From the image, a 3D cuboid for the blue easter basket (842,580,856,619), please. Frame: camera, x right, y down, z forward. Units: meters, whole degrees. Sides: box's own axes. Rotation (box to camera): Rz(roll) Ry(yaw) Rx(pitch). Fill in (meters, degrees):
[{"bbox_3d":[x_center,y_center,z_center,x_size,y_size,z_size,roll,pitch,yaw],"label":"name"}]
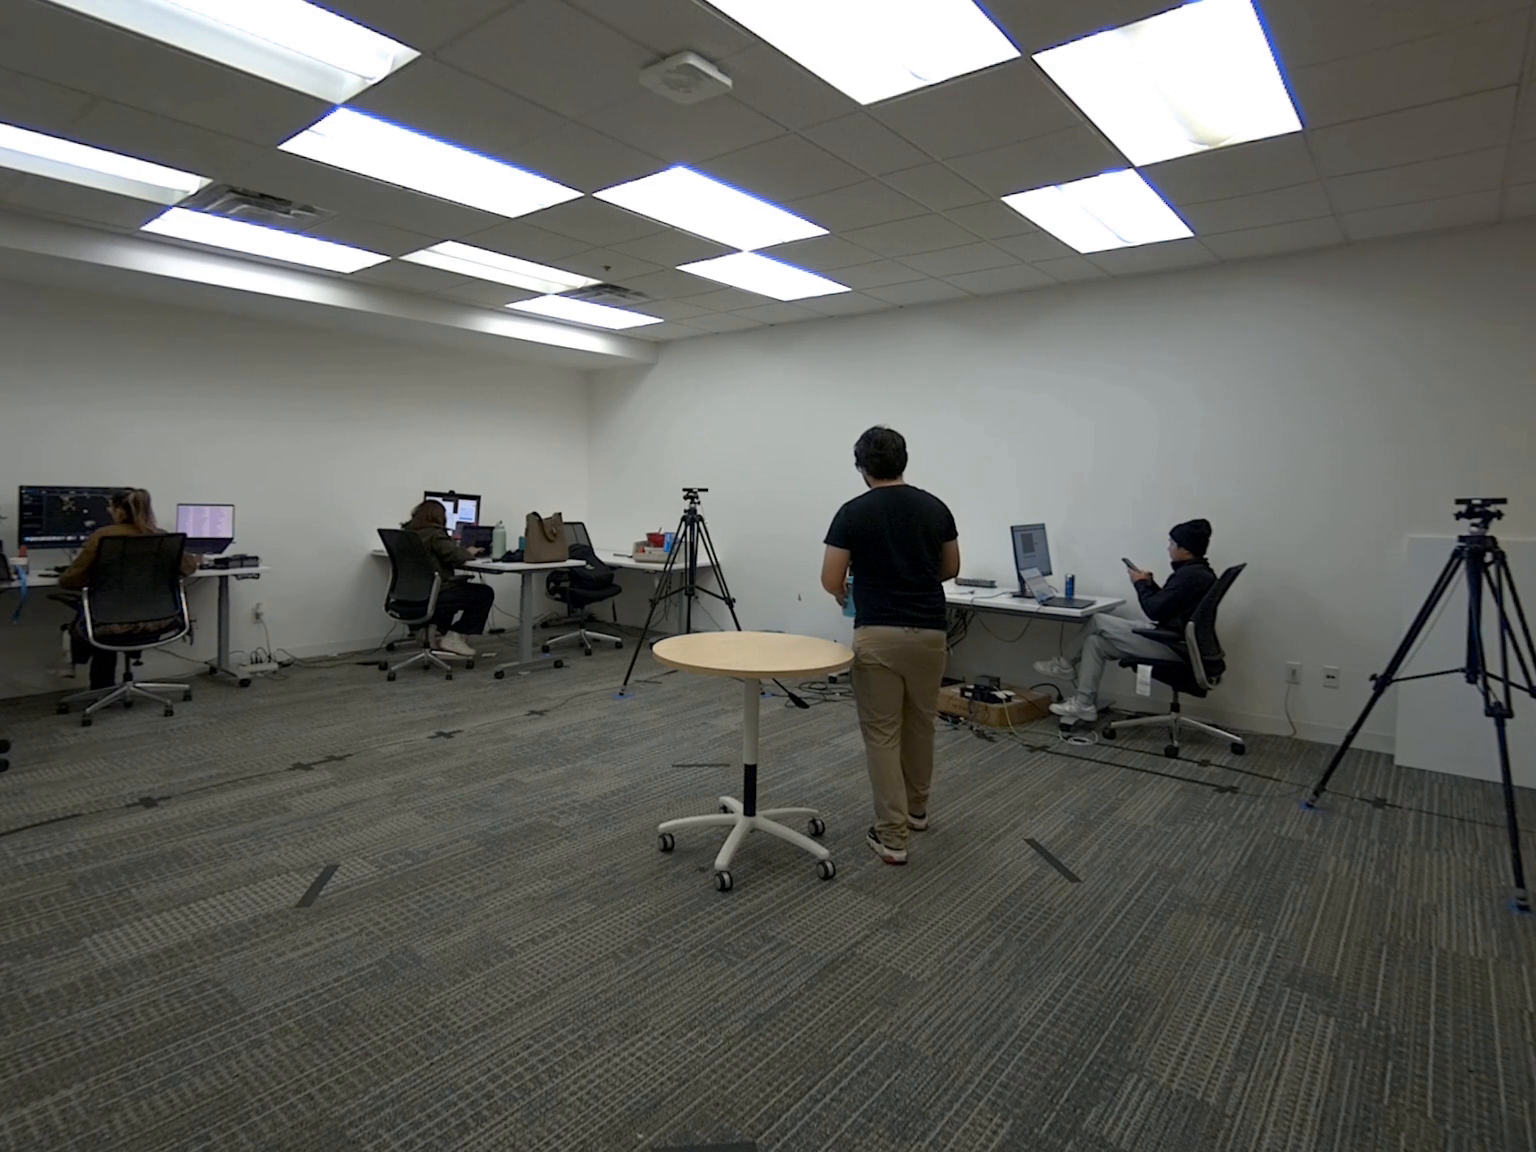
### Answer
[{"bbox_3d":[0.416,0.086,3.658,0.243,0.155,0.245,0,7,-2],"label":"blue easter basket"}]
